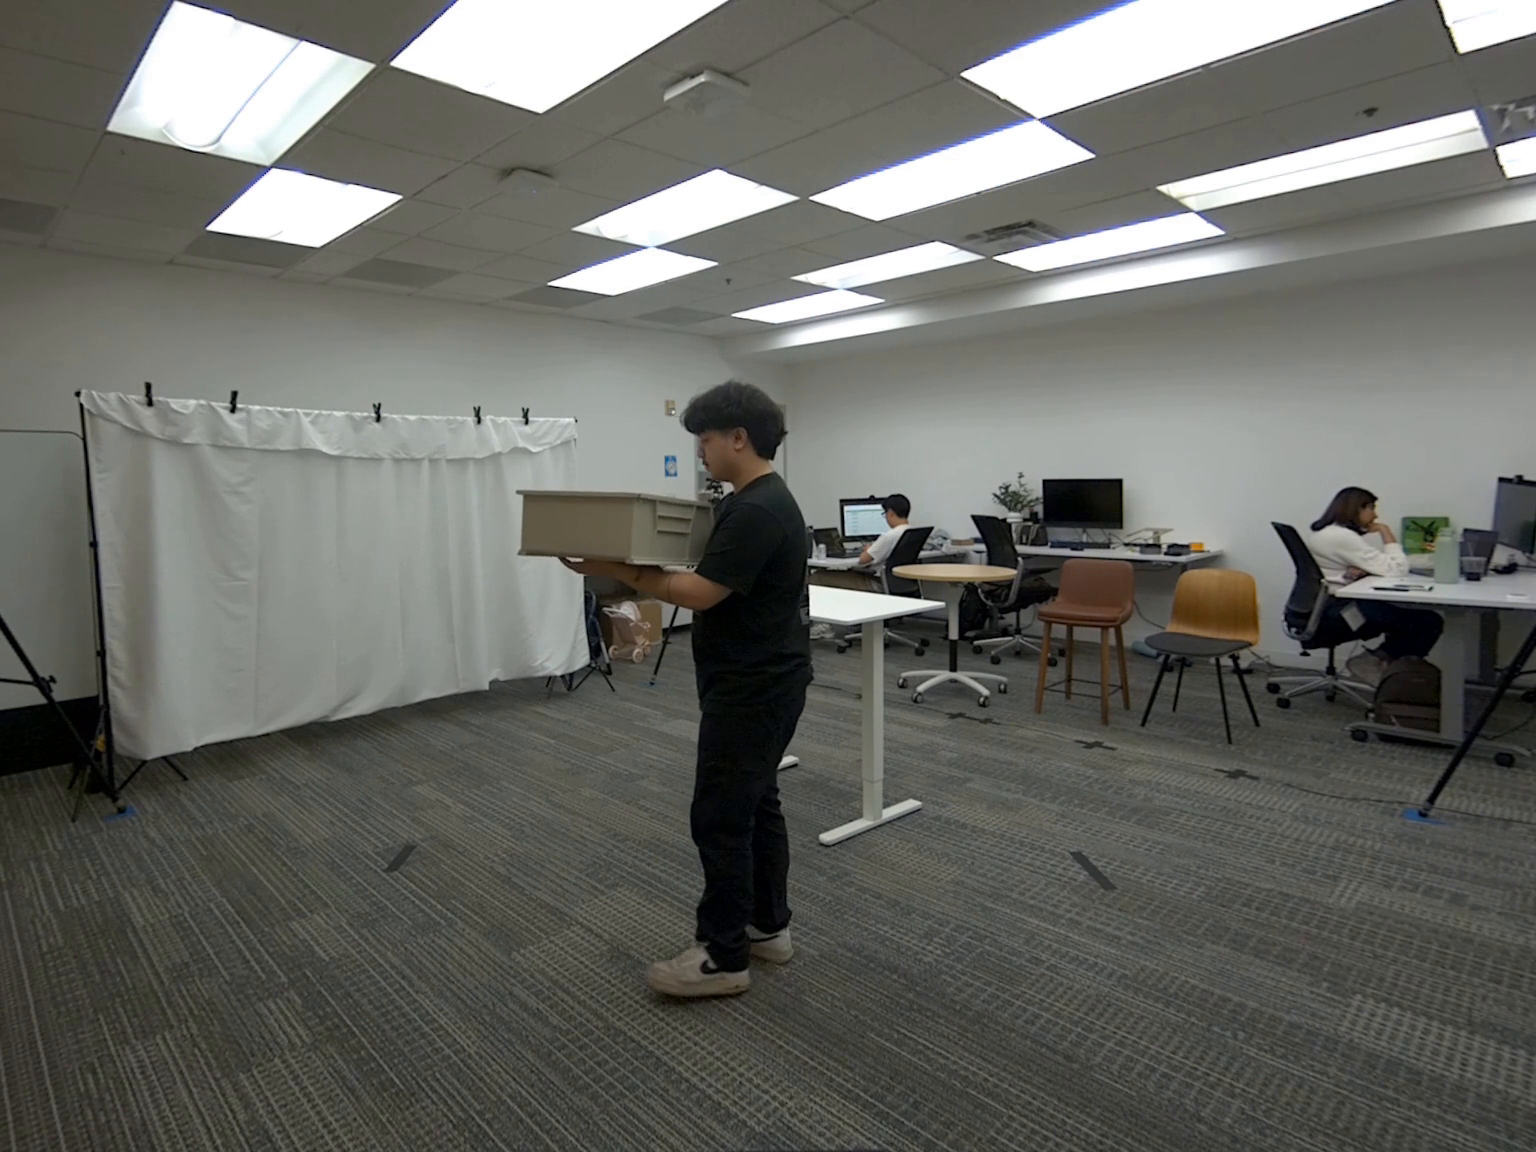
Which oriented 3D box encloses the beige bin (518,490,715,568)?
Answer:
[{"bbox_3d":[-0.417,-0.129,2.374,0.434,0.189,0.367,5,1,30],"label":"beige bin"}]
